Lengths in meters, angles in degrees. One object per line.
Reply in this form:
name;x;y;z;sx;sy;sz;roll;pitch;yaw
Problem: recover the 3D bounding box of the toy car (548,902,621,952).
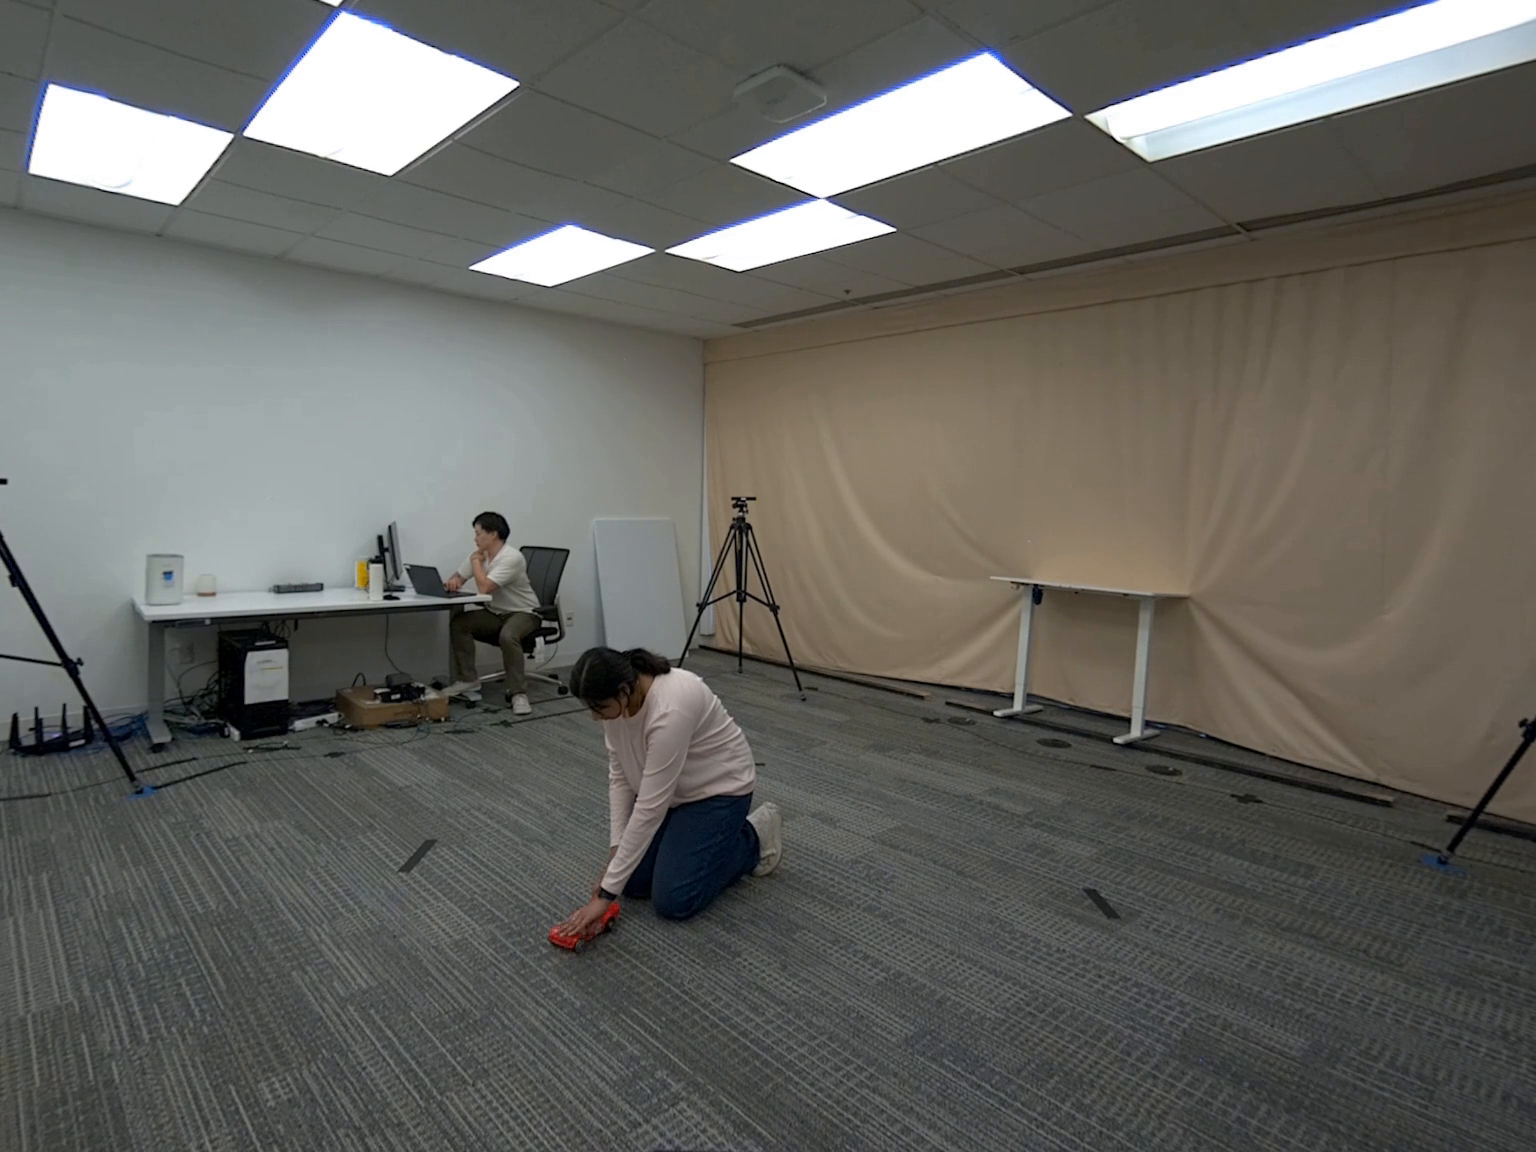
toy car;-0.586;1.109;2.660;0.133;0.082;0.252;3;15;28
